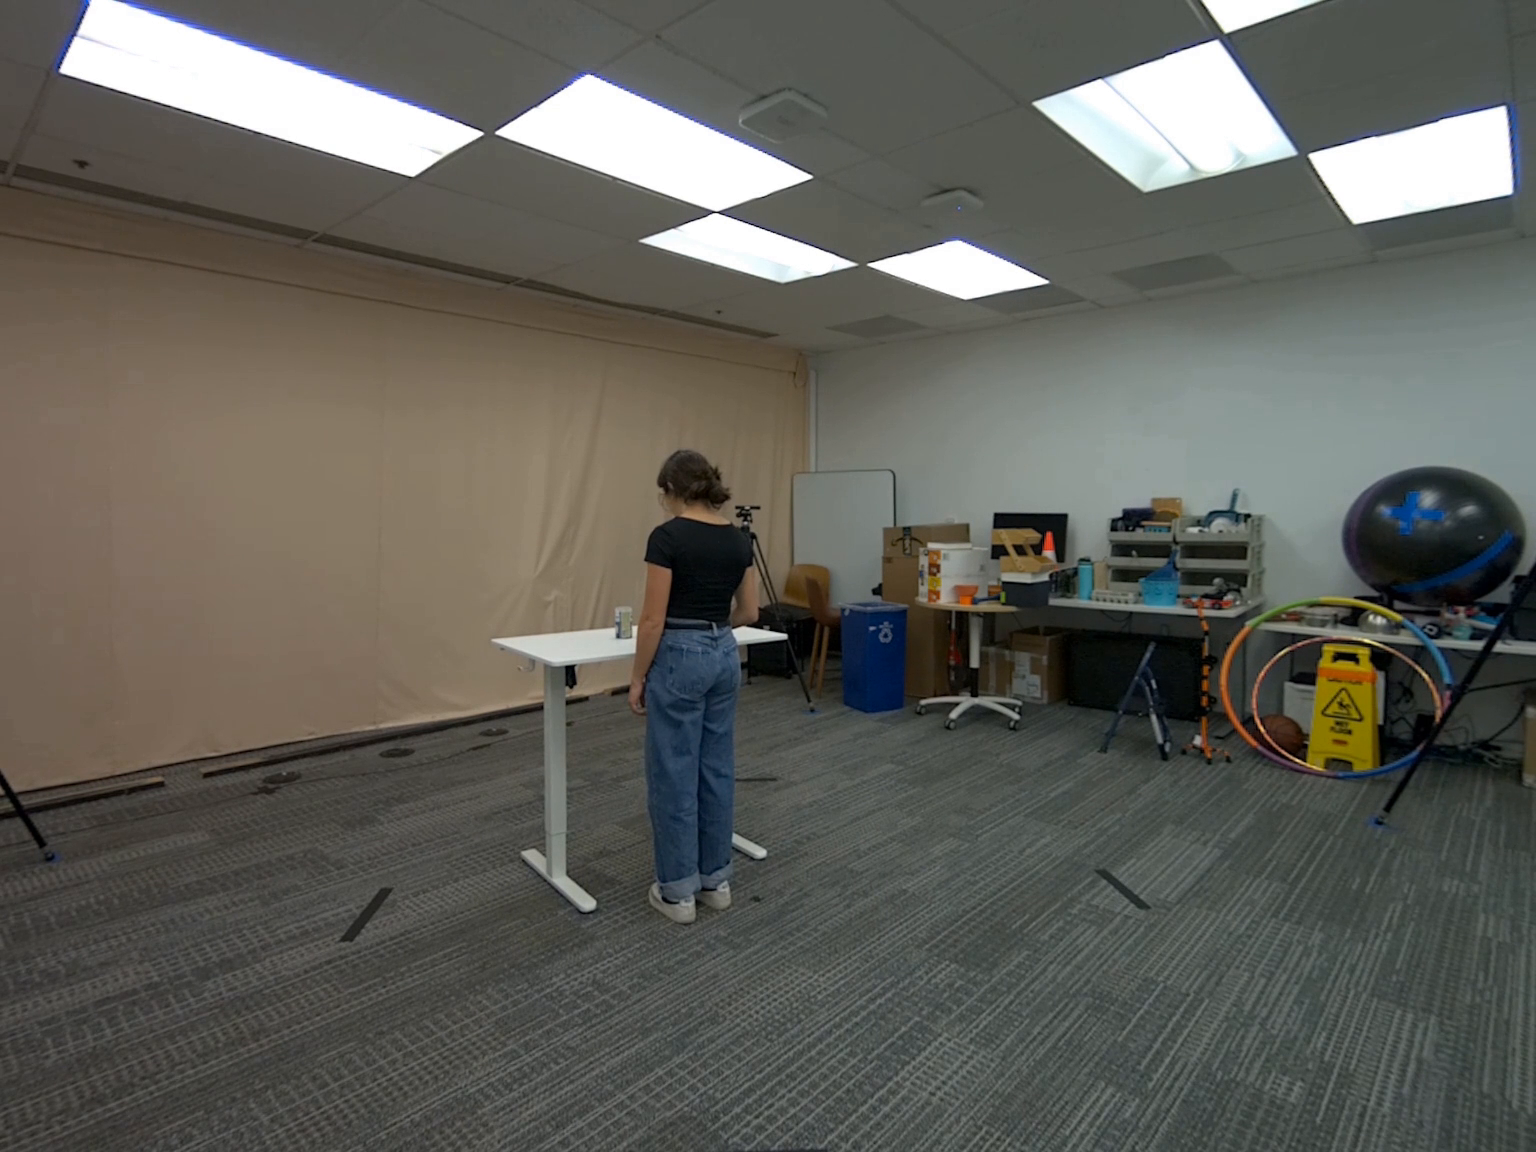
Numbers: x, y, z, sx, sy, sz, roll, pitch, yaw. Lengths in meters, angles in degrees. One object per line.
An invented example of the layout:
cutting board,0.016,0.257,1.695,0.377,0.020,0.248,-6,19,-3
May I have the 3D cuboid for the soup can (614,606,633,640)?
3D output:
soup can,-0.564,0.185,3.284,0.067,0.121,0.067,1,3,-2
